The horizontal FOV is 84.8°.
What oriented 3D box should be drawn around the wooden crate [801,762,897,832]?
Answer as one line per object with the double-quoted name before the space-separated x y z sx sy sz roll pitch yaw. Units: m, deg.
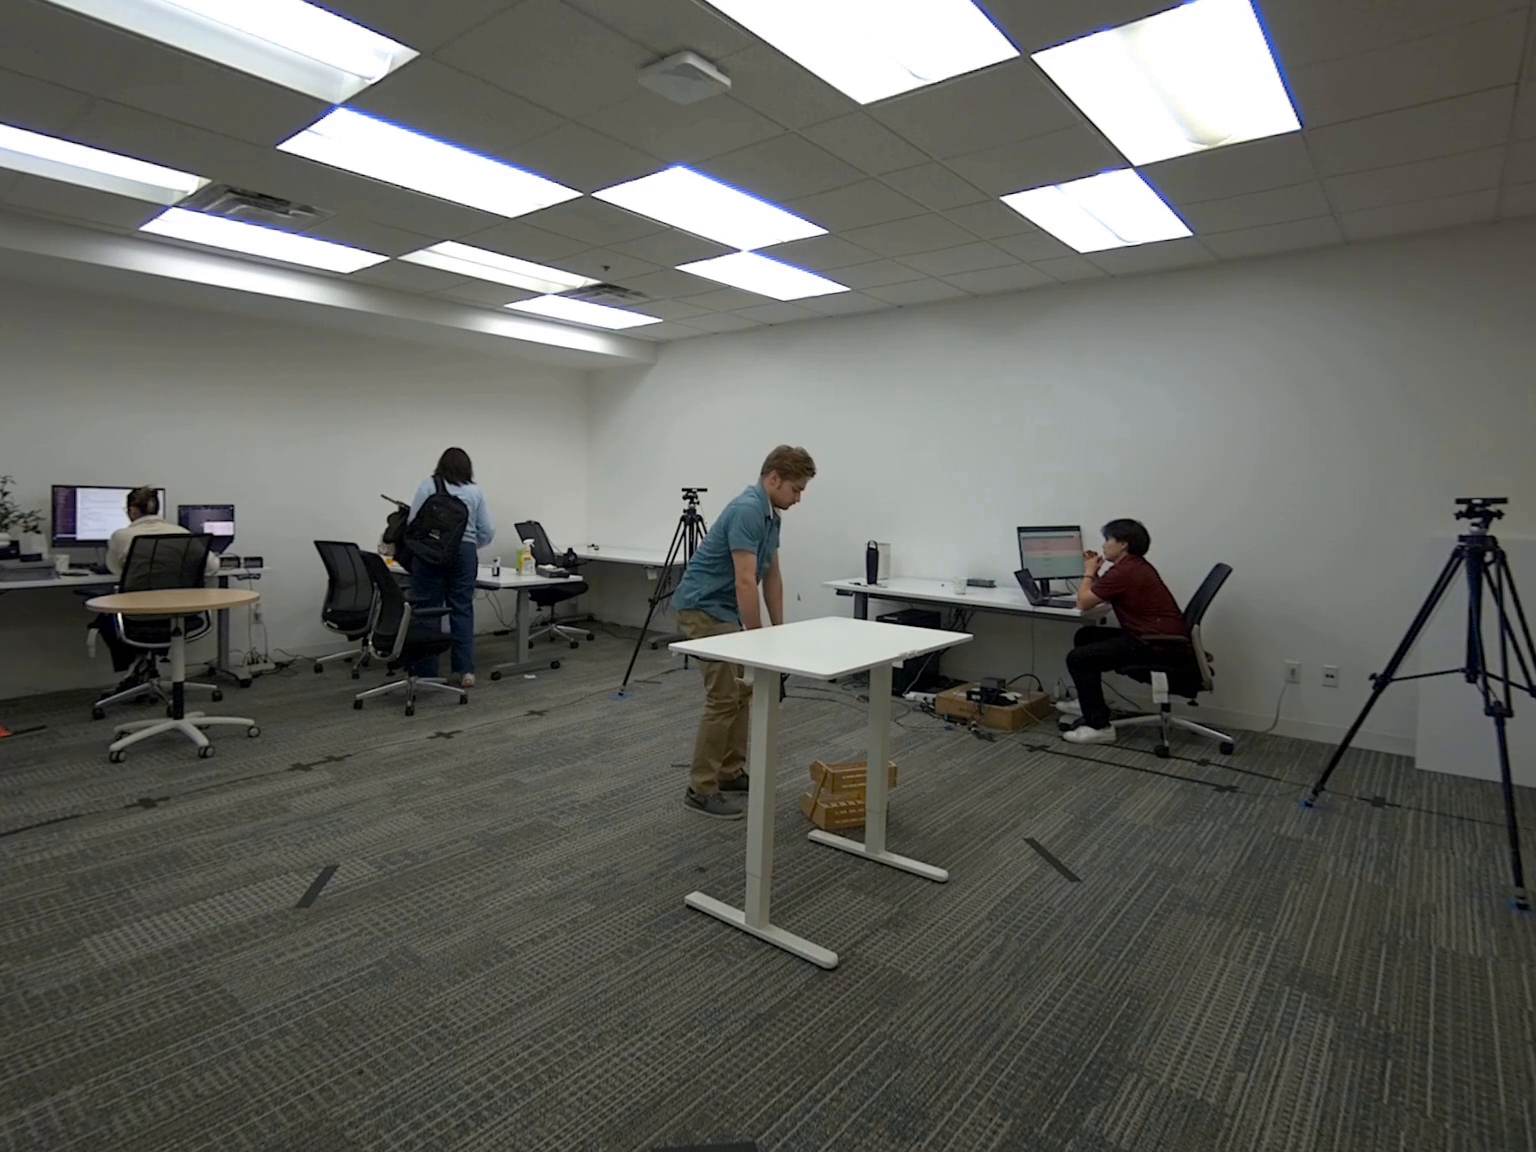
"wooden crate" 0.325 0.892 3.633 0.317 0.272 0.310 -1 6 -23
